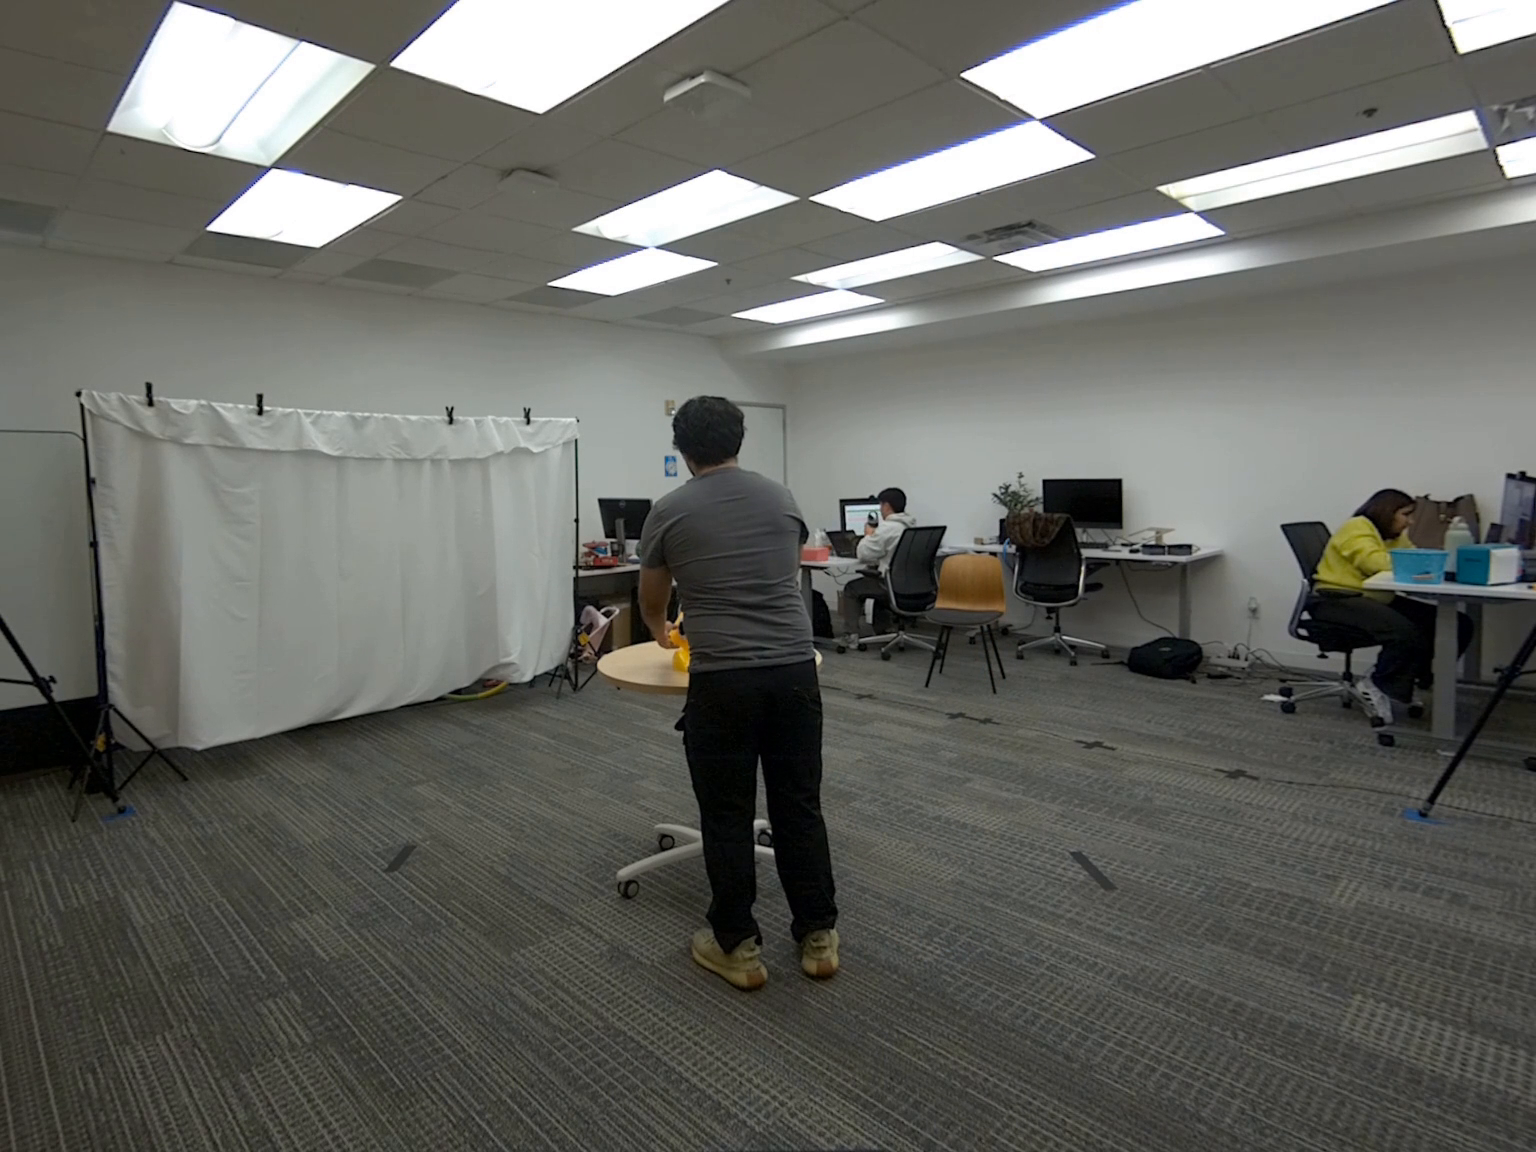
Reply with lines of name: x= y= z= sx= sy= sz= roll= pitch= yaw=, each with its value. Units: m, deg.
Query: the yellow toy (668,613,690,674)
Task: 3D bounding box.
yellow toy: x=-0.218 y=0.180 z=2.833 sx=0.202 sy=0.230 sz=0.196 roll=-3 pitch=4 yaw=-14
